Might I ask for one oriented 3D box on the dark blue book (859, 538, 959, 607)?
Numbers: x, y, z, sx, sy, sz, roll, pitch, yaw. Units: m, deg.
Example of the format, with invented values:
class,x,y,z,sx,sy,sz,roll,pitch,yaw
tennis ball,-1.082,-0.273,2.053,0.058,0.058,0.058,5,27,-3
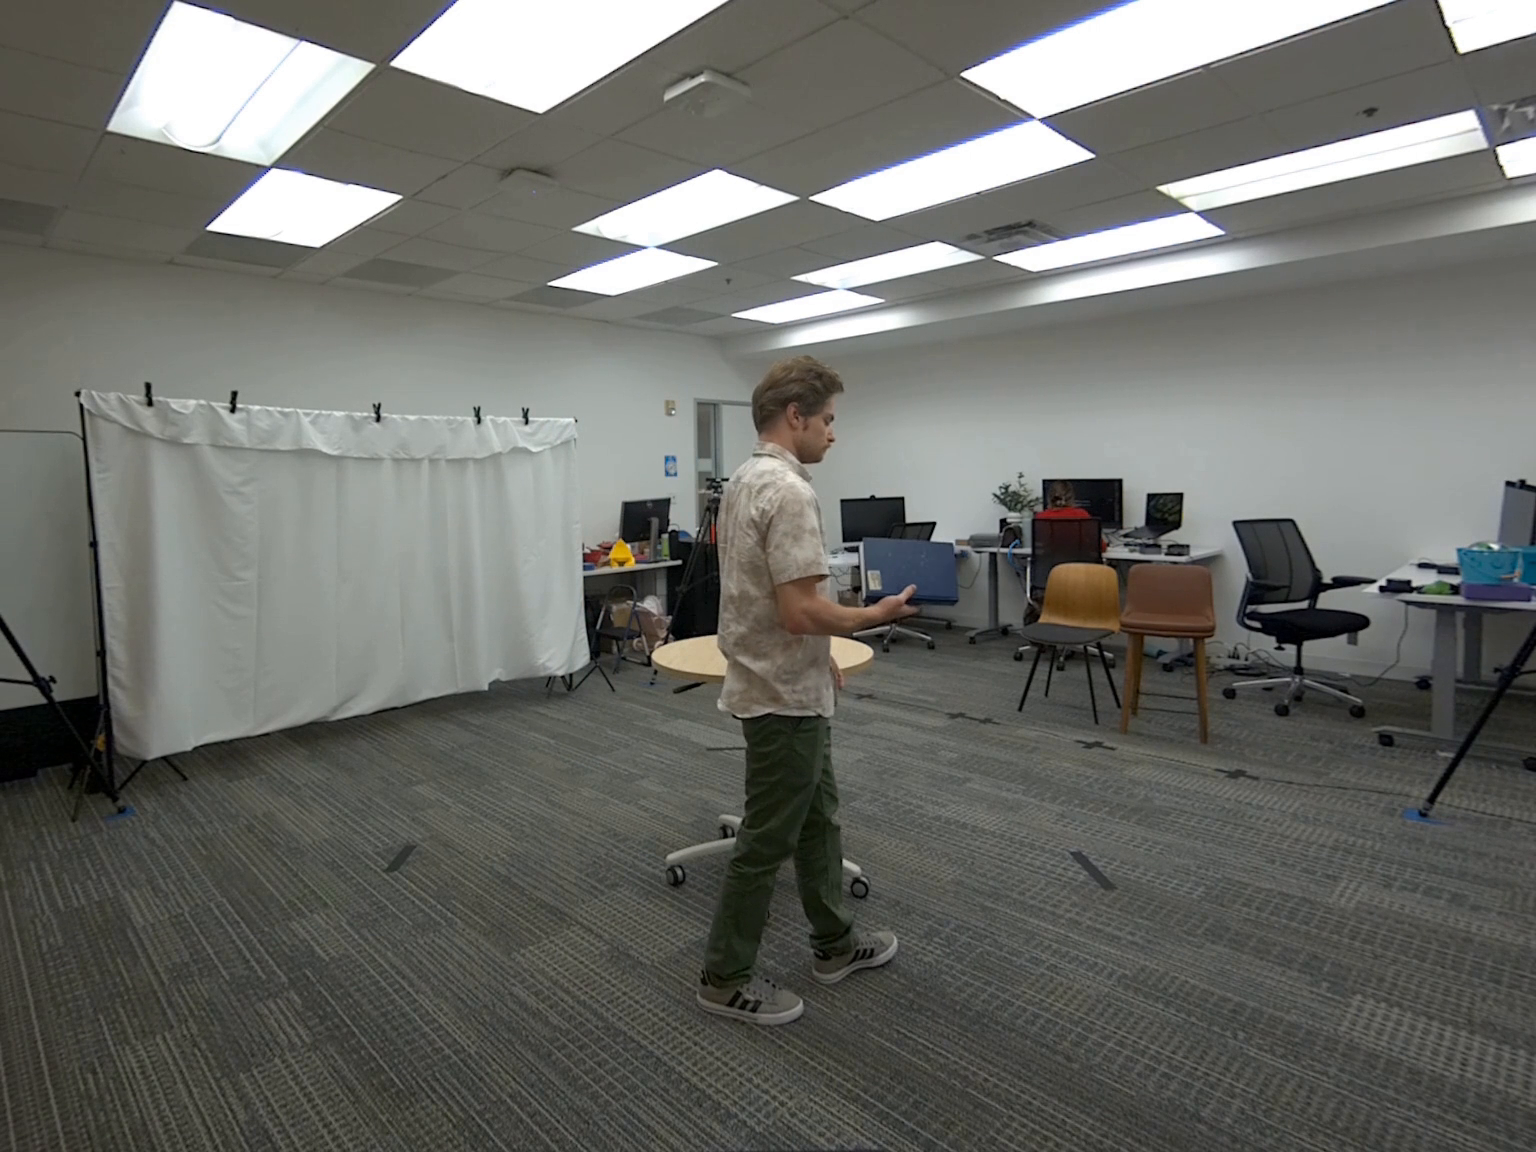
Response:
class,x,y,z,sx,sy,sz,roll,pitch,yaw
dark blue book,0.366,-0.010,2.220,0.244,0.166,0.044,2,-23,-5
